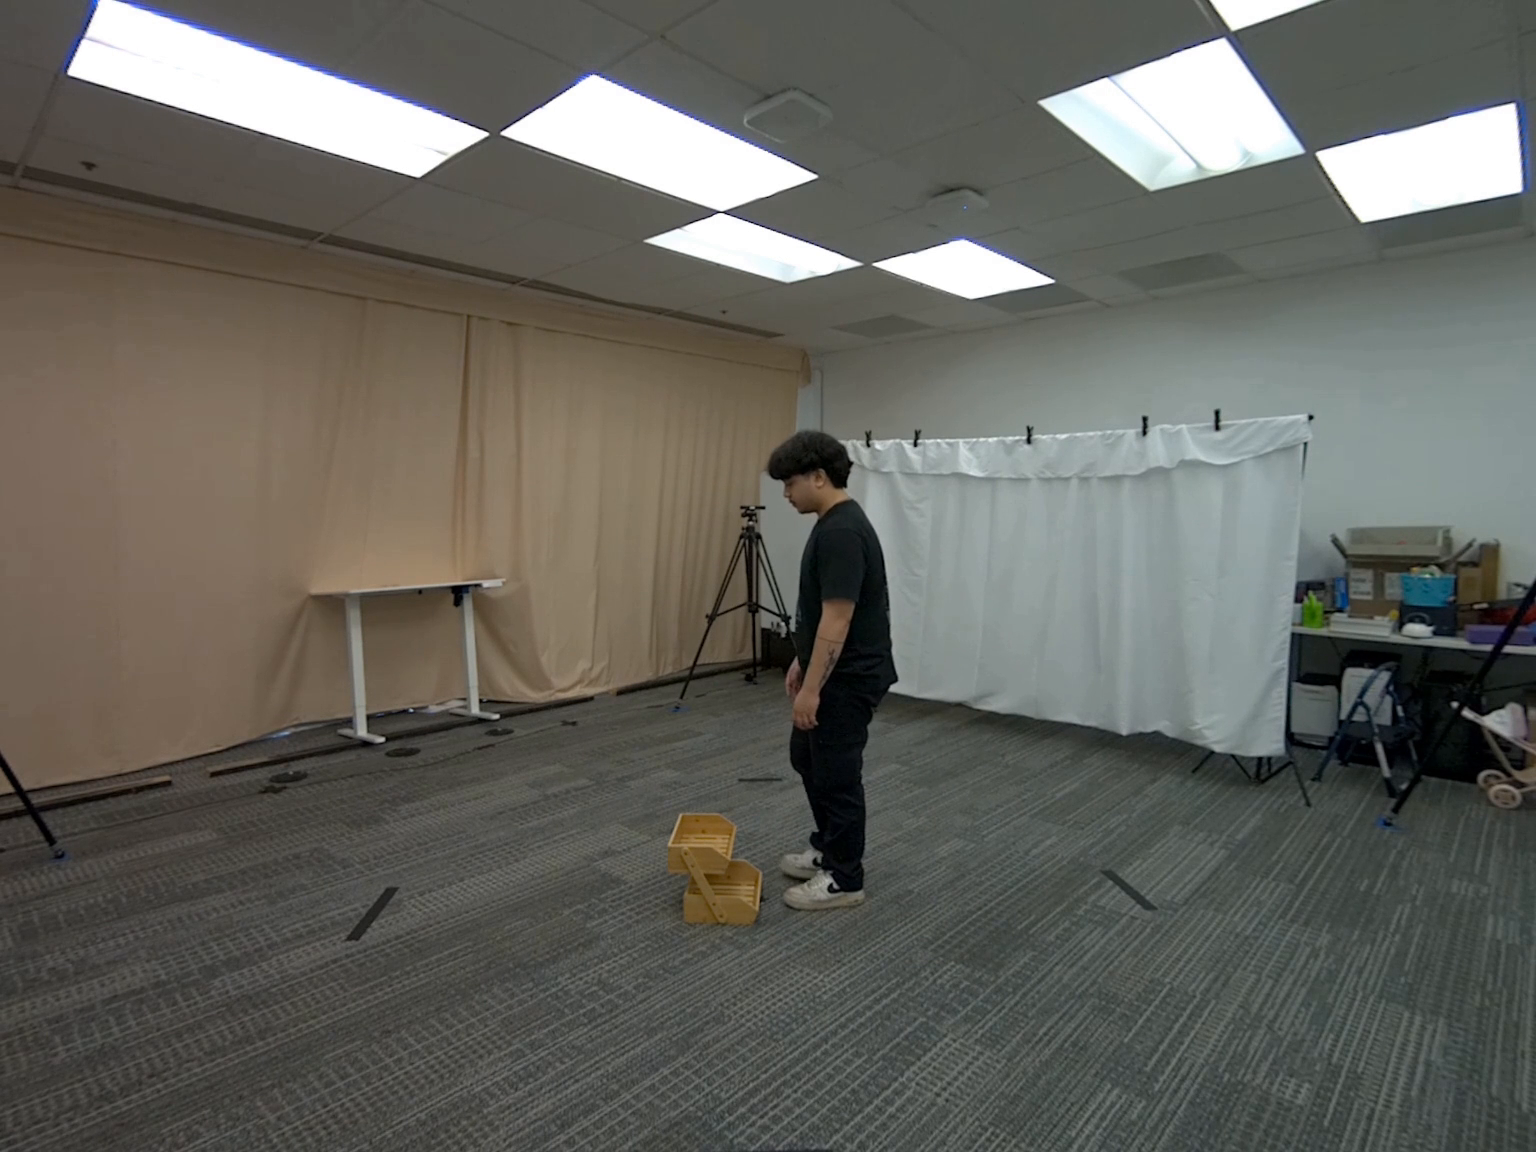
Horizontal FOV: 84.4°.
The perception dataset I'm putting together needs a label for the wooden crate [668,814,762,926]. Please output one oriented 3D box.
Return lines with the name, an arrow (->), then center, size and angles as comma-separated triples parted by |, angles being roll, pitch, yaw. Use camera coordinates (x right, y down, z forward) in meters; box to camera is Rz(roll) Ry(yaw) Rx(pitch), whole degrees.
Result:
wooden crate -> -0.170, 1.019, 2.953 | 0.303, 0.273, 0.324 | 0, 4, 3
